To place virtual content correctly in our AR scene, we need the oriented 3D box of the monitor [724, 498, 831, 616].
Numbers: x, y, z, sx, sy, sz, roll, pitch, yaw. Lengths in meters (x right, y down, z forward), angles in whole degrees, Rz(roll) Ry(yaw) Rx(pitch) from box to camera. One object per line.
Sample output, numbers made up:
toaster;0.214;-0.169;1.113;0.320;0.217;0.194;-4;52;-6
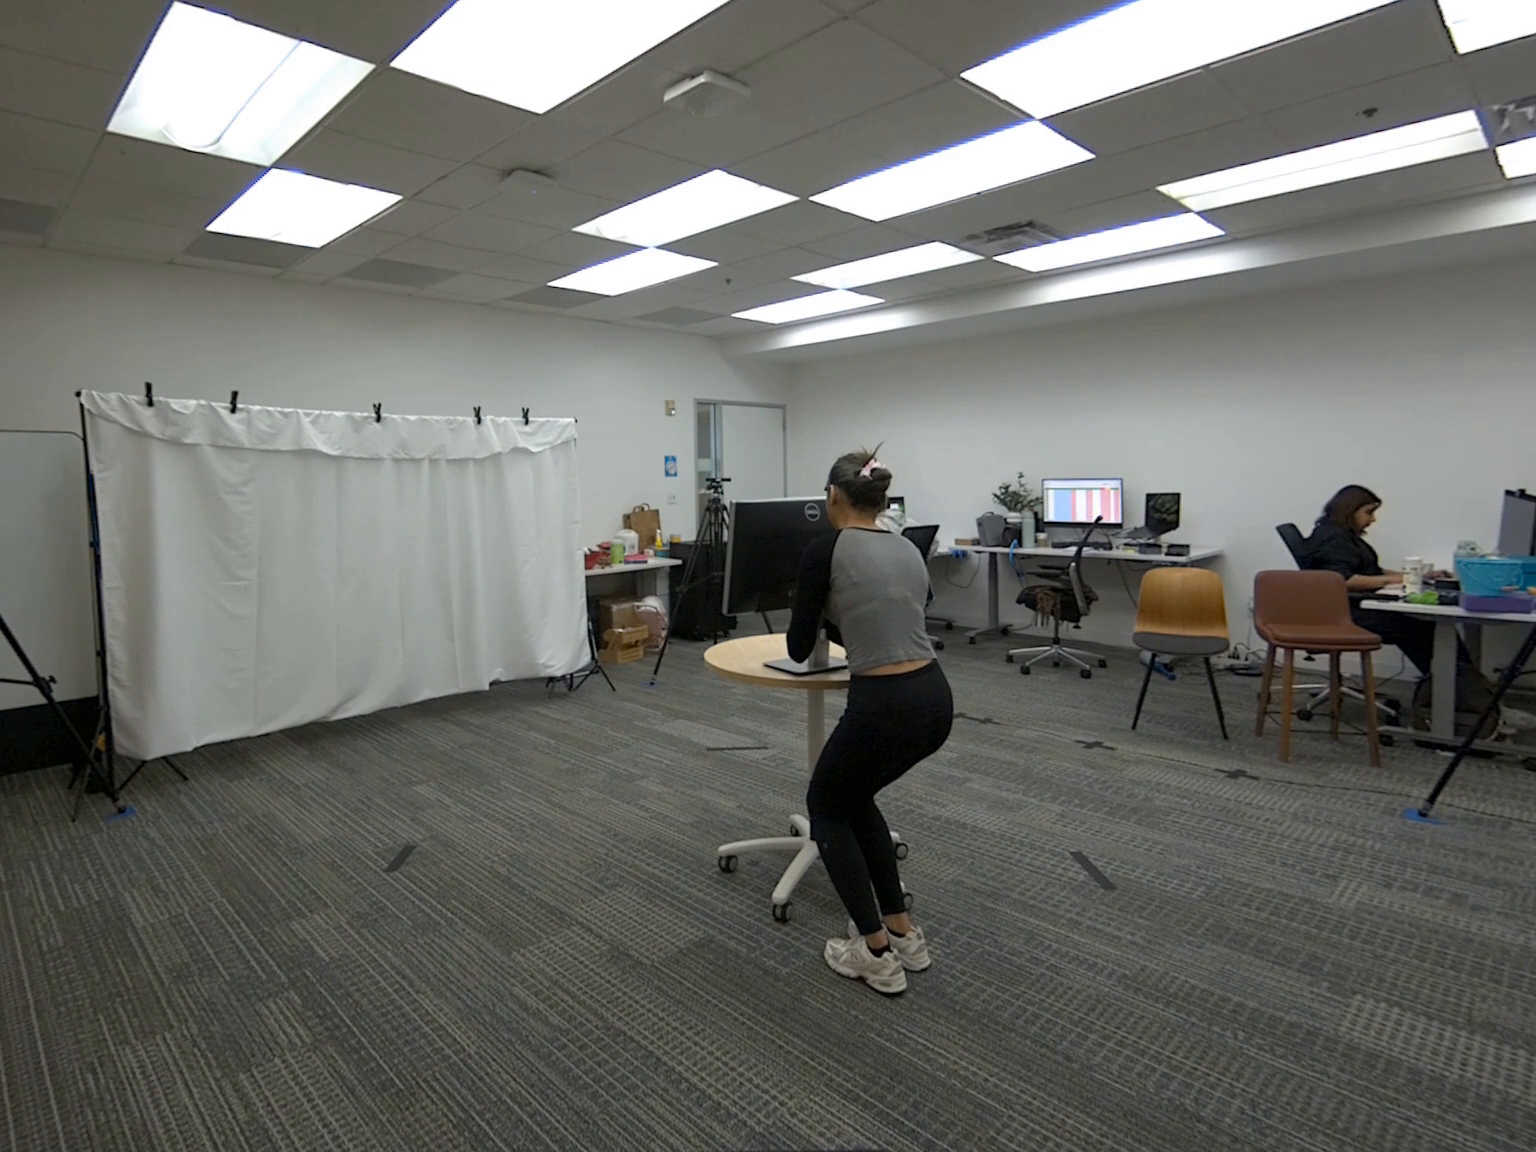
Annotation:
monitor;0.136;0.021;2.726;0.526;0.521;0.192;-4;4;-33
